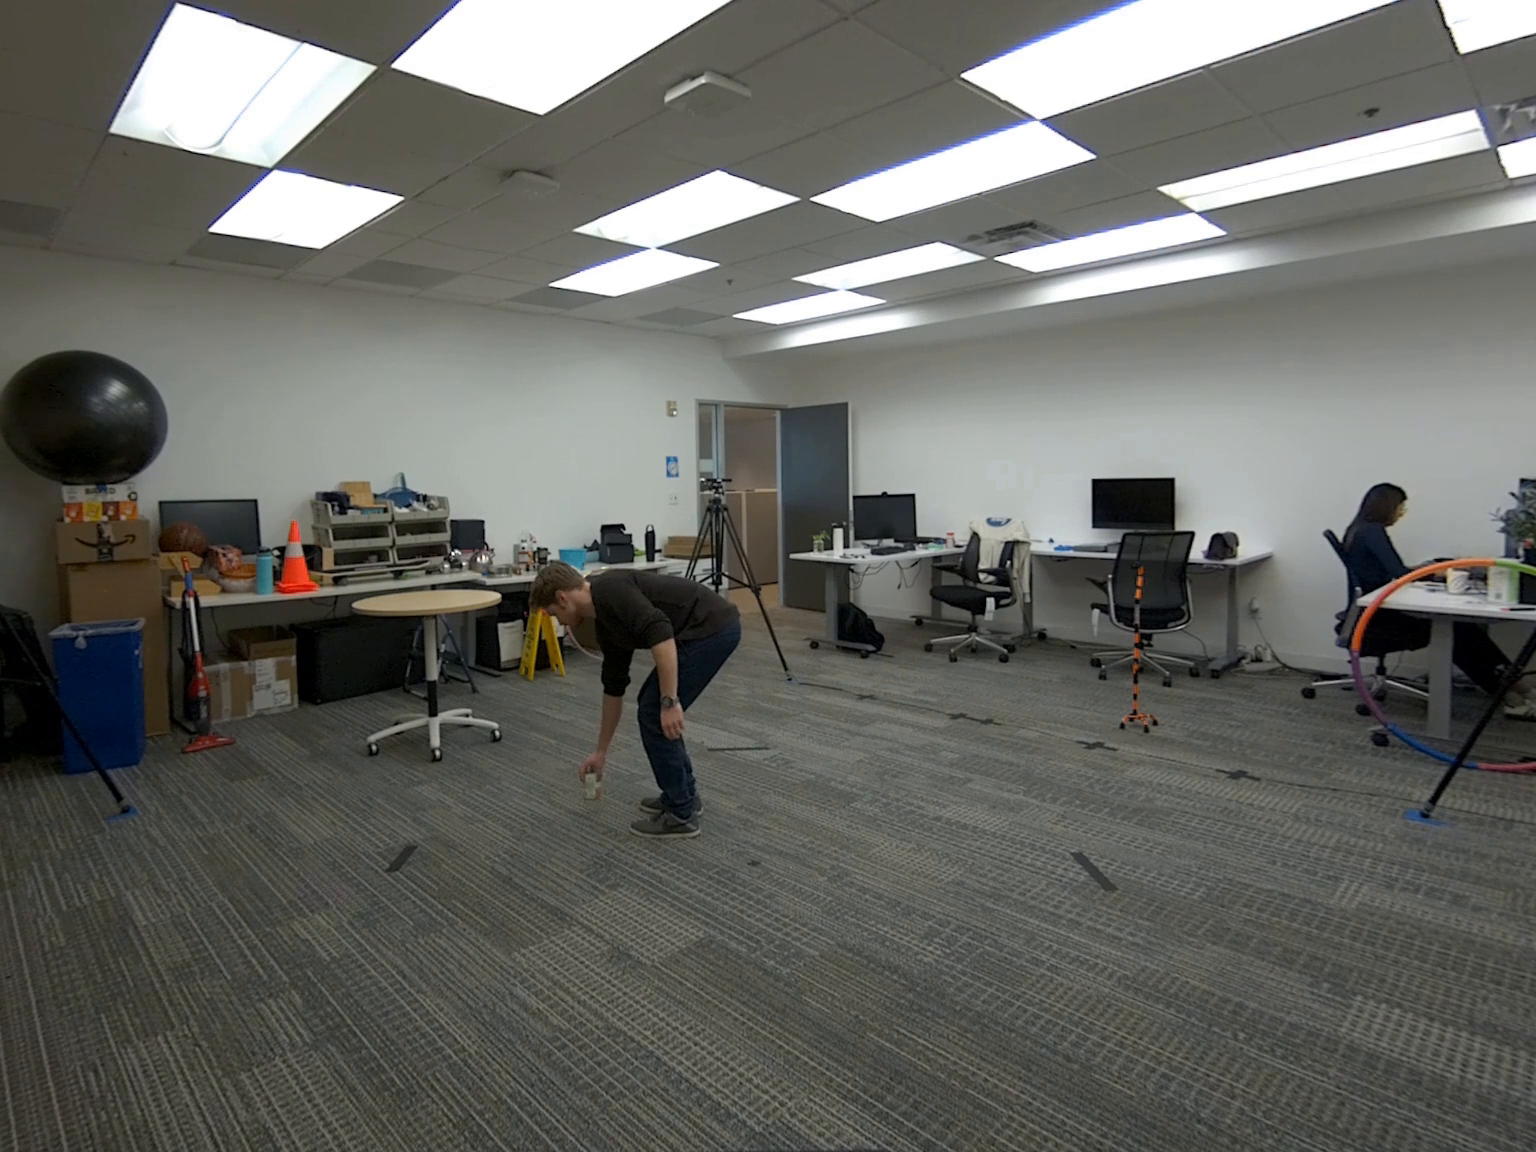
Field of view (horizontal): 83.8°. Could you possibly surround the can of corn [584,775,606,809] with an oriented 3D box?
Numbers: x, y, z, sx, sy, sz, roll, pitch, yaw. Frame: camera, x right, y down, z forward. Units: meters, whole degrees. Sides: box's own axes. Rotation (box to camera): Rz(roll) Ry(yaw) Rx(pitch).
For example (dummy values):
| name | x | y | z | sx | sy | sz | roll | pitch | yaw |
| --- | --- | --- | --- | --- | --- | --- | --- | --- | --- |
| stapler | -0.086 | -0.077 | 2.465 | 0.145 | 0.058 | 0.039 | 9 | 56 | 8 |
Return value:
| name | x | y | z | sx | sy | sz | roll | pitch | yaw |
| --- | --- | --- | --- | --- | --- | --- | --- | --- | --- |
| can of corn | -0.732 | 0.909 | 3.616 | 0.074 | 0.111 | 0.074 | -2 | 3 | -2 |
